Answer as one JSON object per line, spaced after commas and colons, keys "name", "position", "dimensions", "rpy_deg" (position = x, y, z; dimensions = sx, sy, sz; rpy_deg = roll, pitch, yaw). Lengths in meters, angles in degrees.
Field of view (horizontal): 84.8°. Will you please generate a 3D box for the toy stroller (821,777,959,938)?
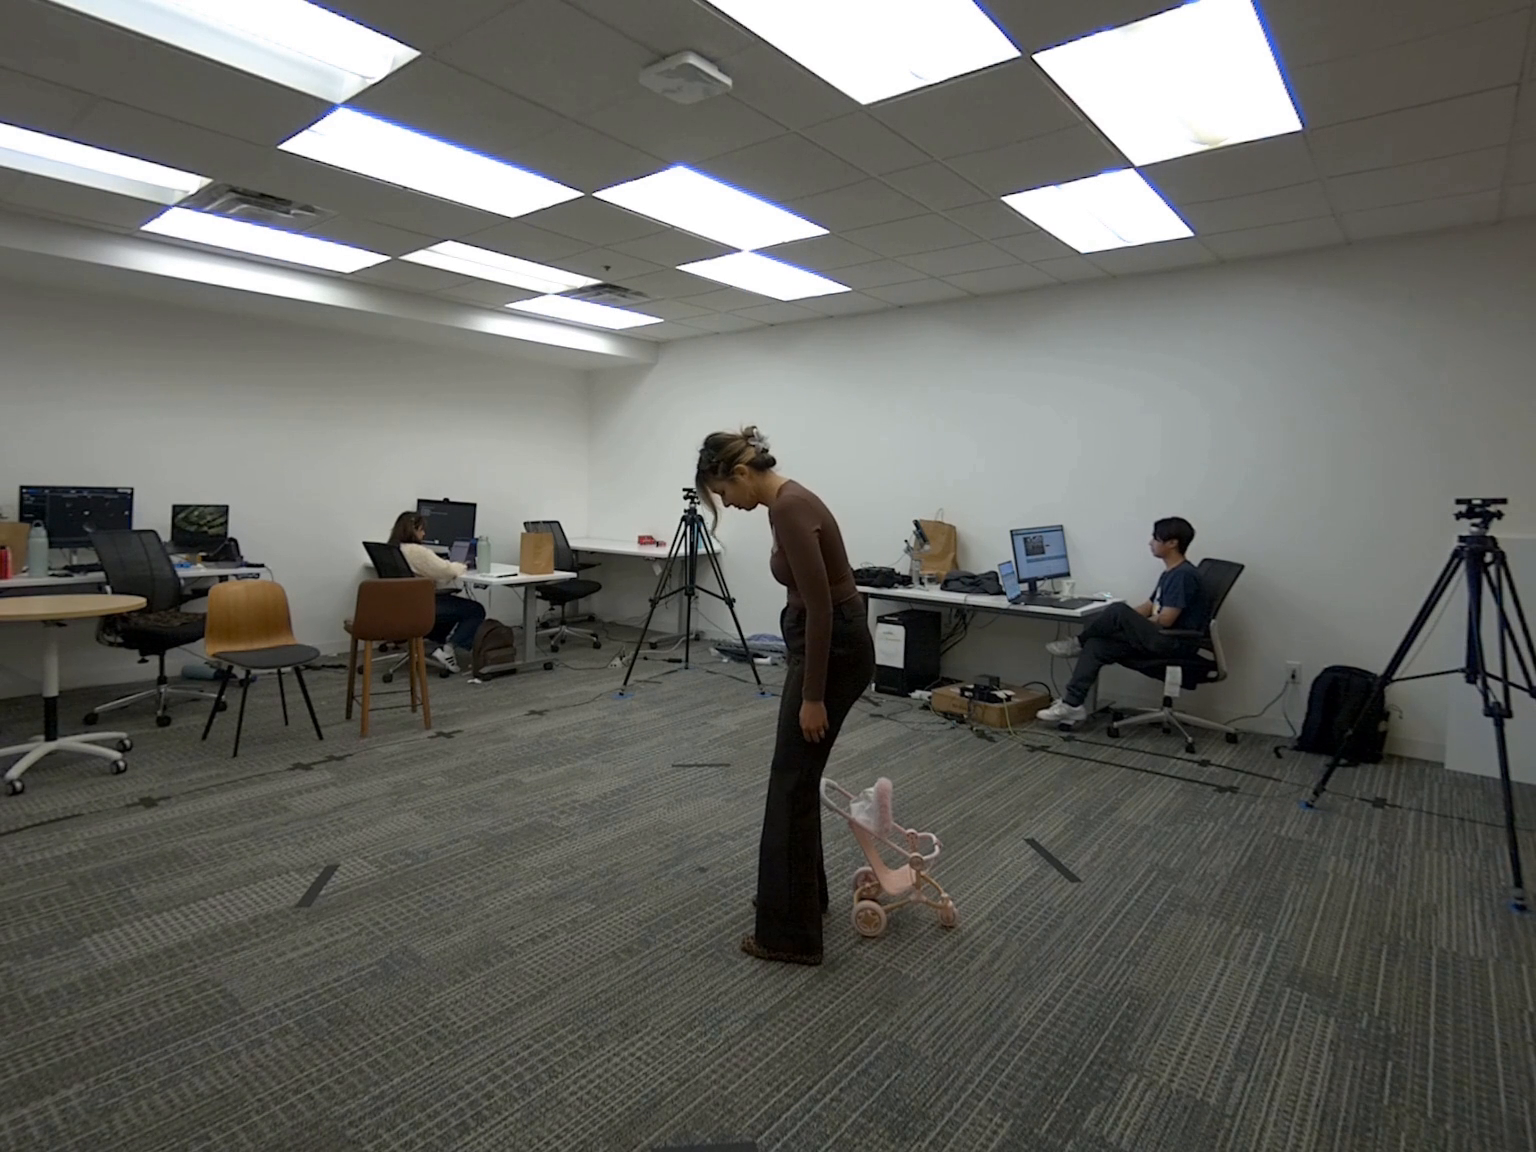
{"name": "toy stroller", "position": [0.392, 0.898, 2.764], "dimensions": [0.345, 0.535, 0.278], "rpy_deg": [-15, 0, 13]}
